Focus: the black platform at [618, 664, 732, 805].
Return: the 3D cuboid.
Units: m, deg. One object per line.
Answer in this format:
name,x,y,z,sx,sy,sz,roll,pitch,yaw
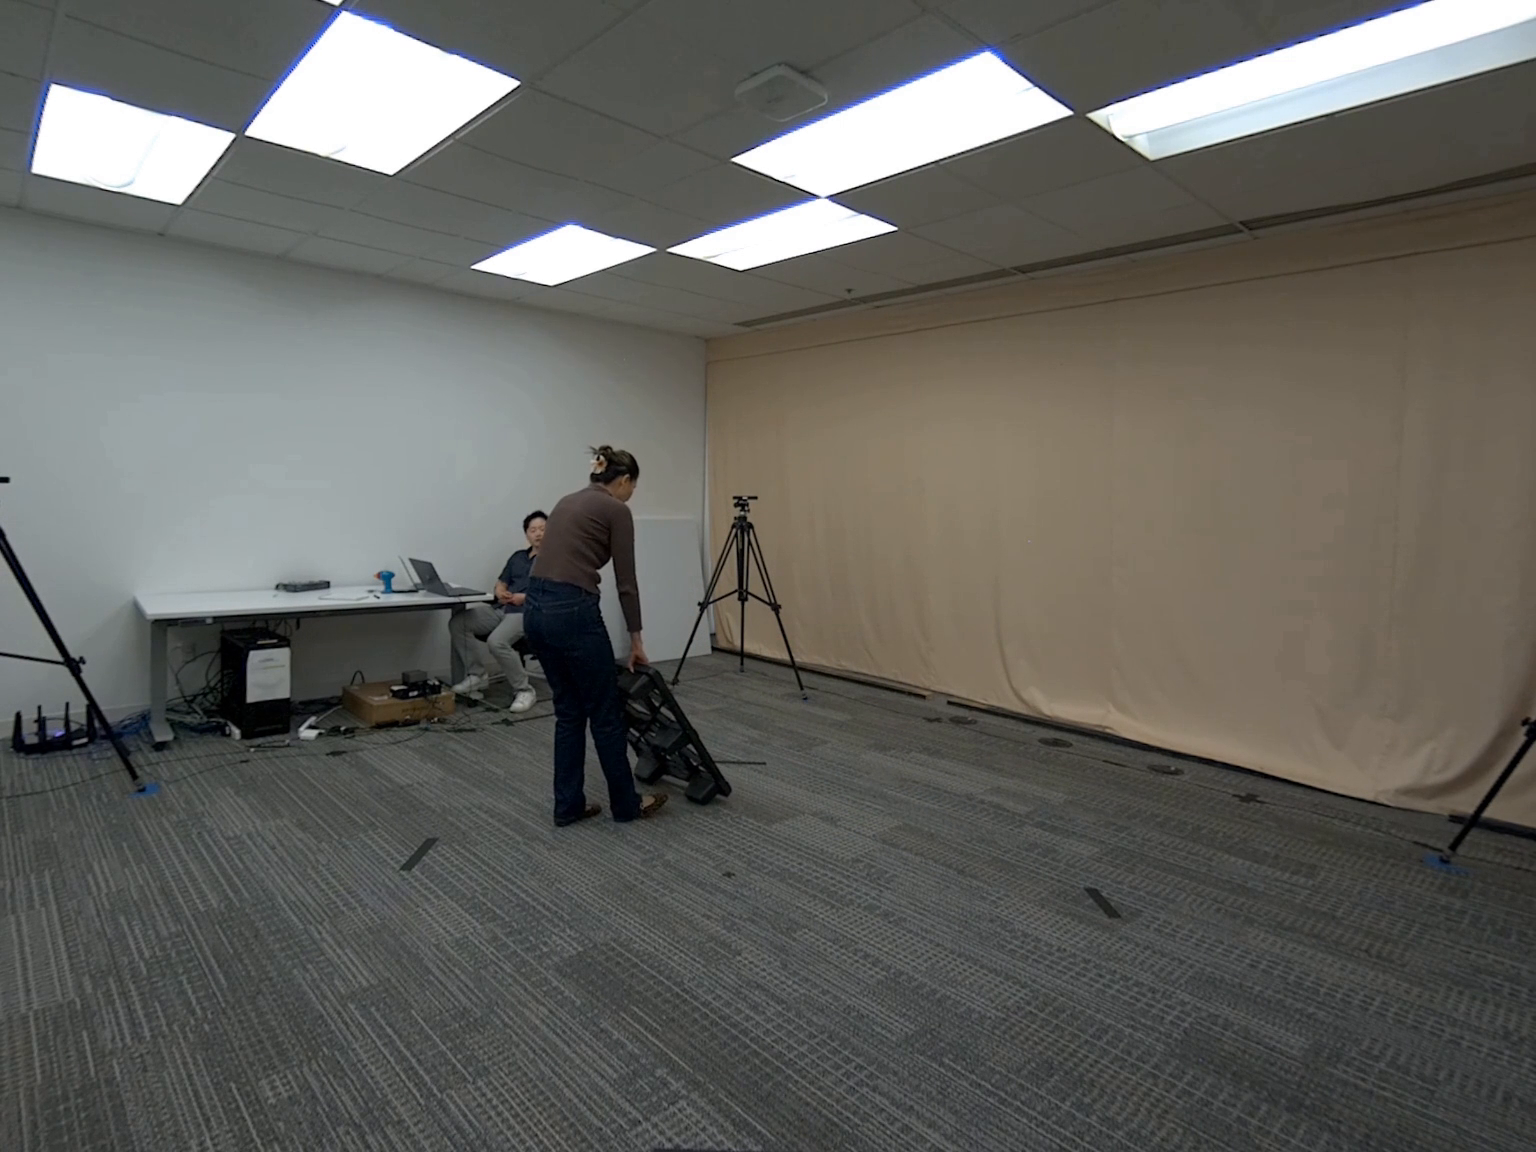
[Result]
black platform,-0.575,0.693,3.832,0.620,0.785,0.143,4,41,43
